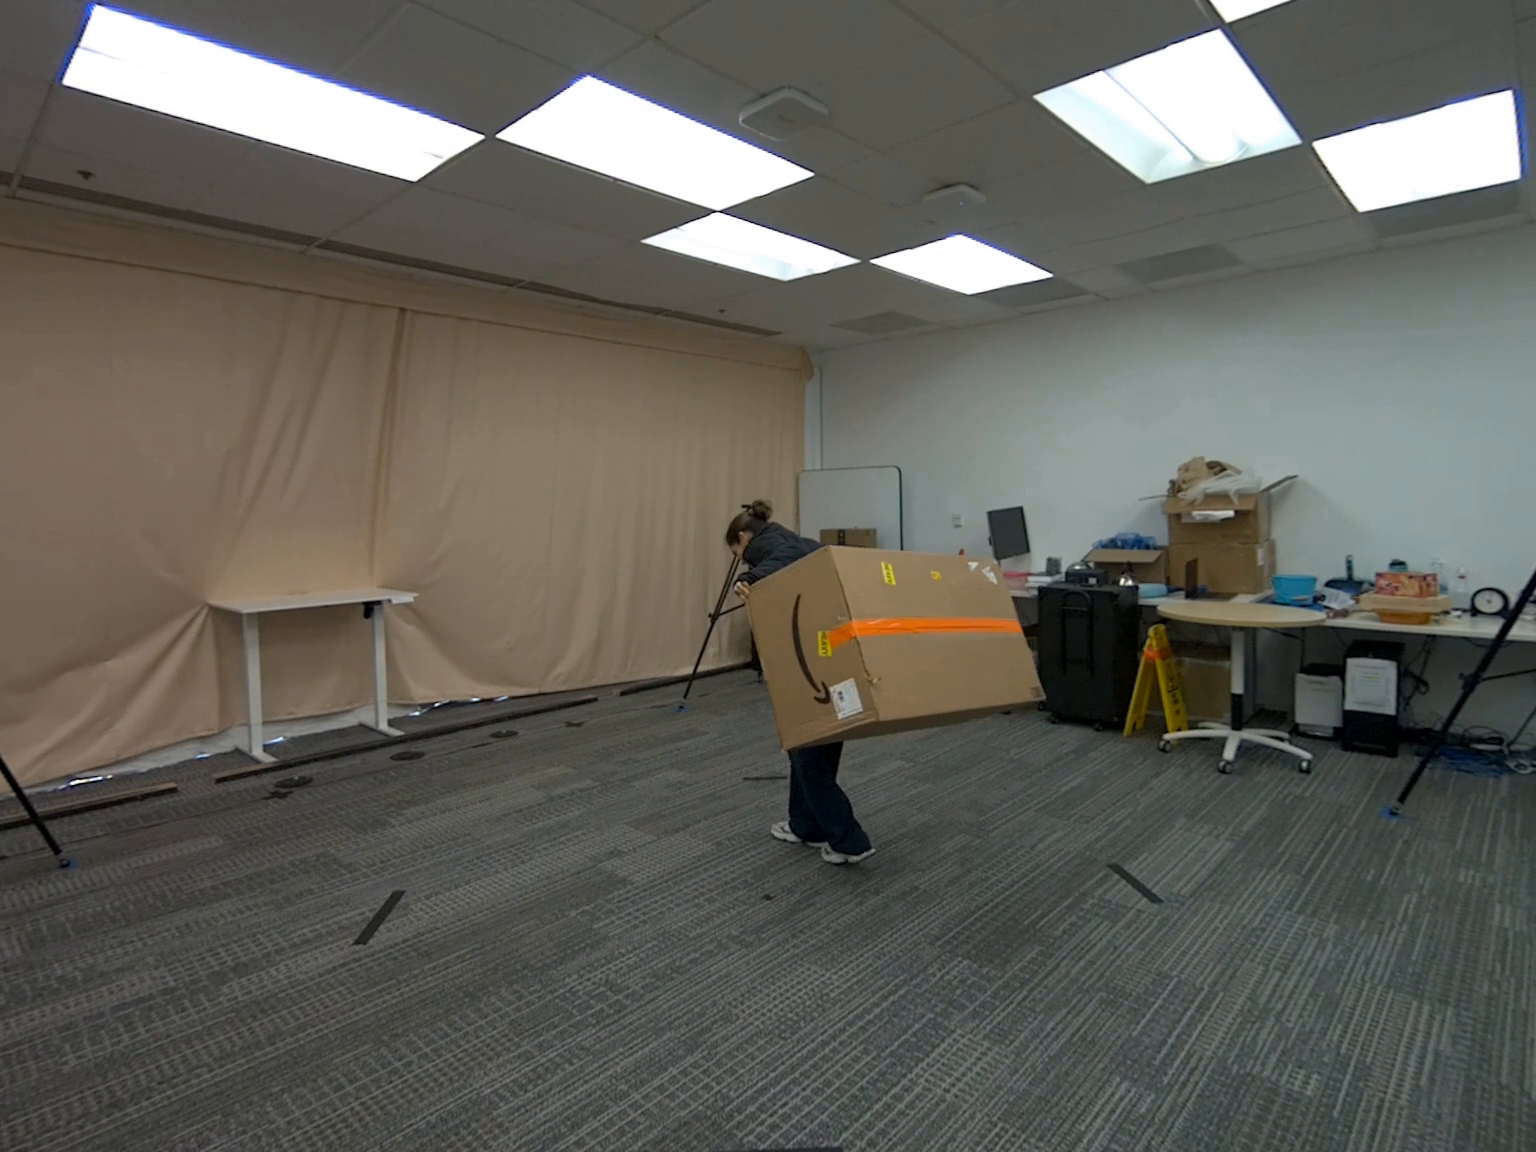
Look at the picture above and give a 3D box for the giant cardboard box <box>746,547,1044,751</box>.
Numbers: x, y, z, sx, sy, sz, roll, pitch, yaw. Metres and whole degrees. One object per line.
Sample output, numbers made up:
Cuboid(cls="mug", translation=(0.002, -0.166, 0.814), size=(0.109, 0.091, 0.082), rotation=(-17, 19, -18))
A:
Cuboid(cls="giant cardboard box", translation=(0.497, 0.259, 3.078), size=(0.992, 0.586, 0.434), rotation=(3, -24, -43))
